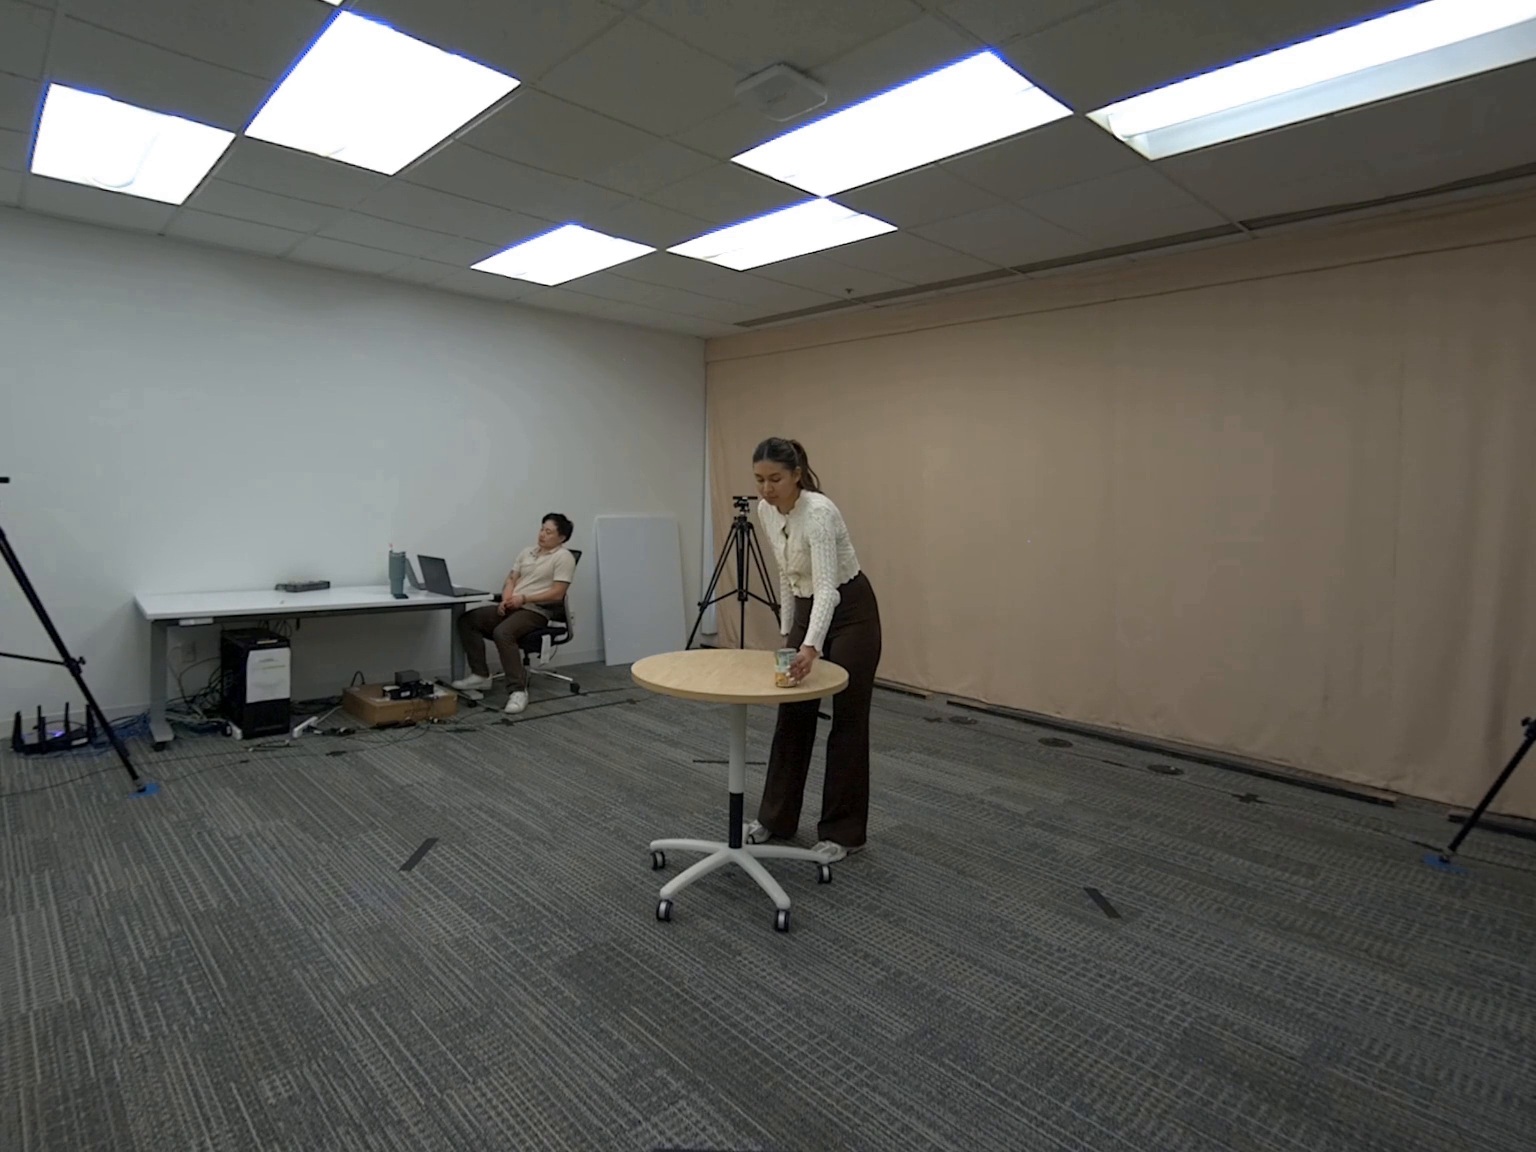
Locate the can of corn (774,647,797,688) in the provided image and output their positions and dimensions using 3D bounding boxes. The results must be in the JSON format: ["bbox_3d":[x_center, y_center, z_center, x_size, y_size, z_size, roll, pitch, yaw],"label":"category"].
[{"bbox_3d":[0.045,0.299,2.742,0.074,0.111,0.074,0,3,-1],"label":"can of corn"}]
